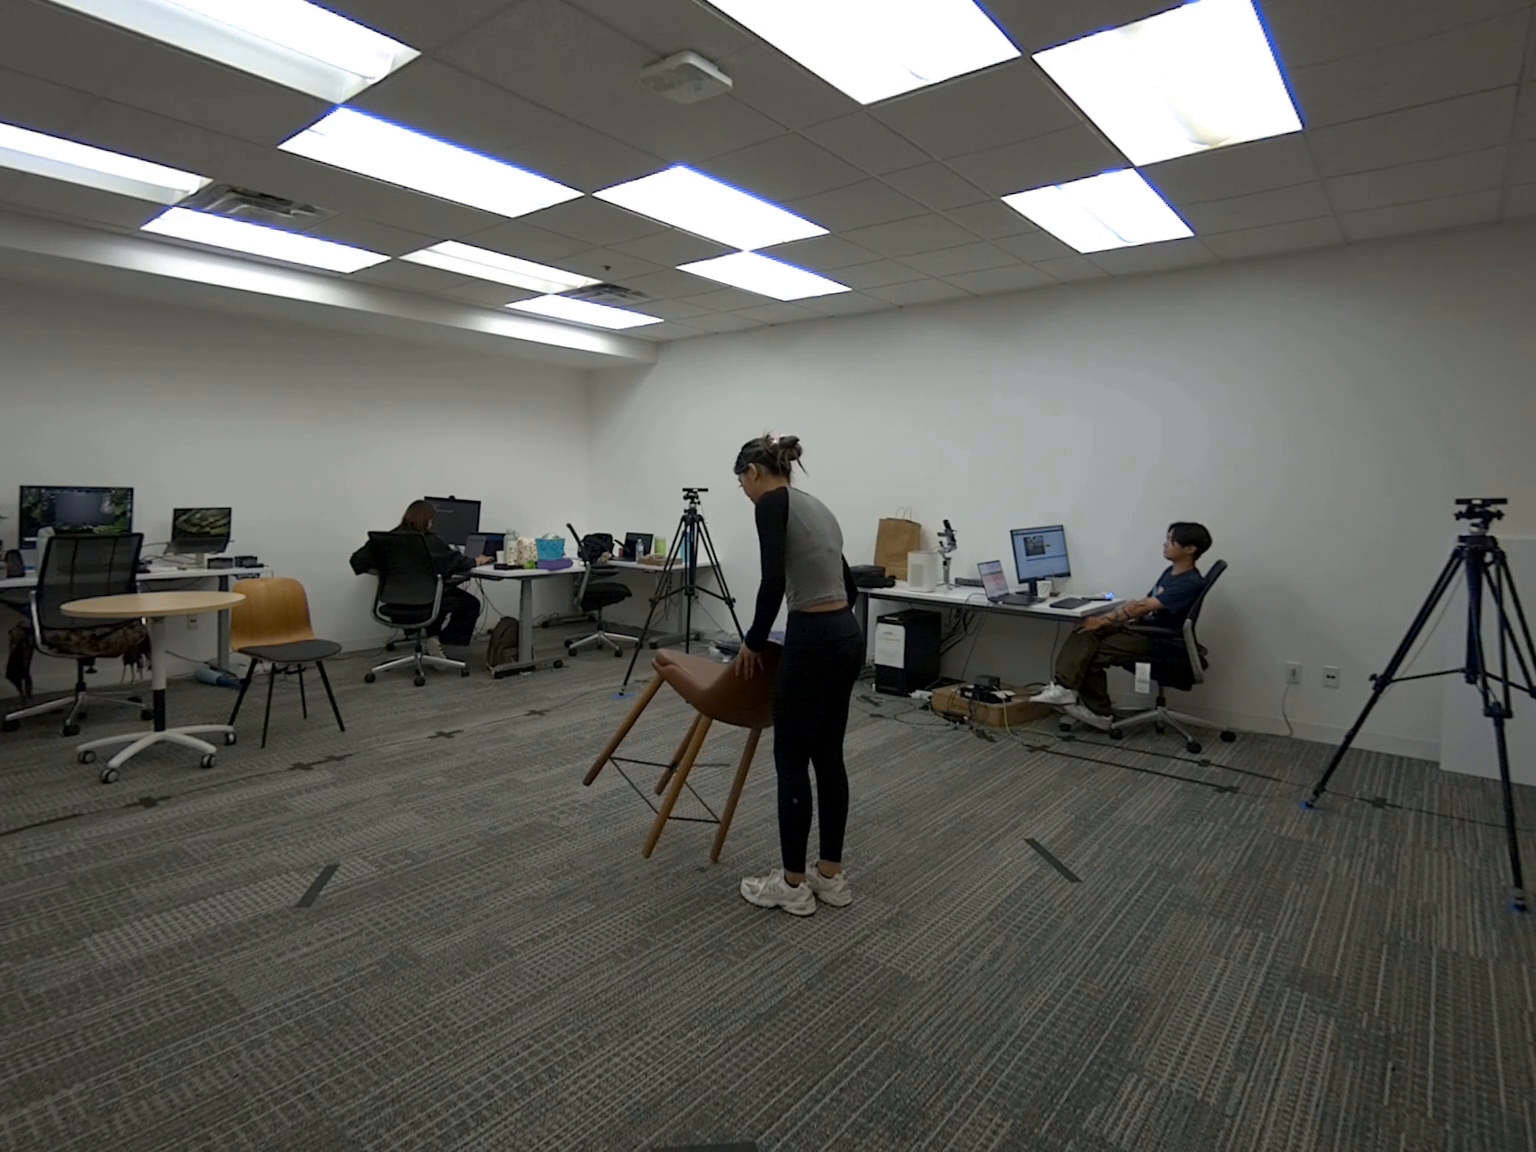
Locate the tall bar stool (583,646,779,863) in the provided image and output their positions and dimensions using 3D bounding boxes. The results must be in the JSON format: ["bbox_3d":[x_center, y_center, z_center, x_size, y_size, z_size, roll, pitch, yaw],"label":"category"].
[{"bbox_3d":[-0.252,0.550,3.174,0.438,0.887,0.488,22,9,-43],"label":"tall bar stool"}]
